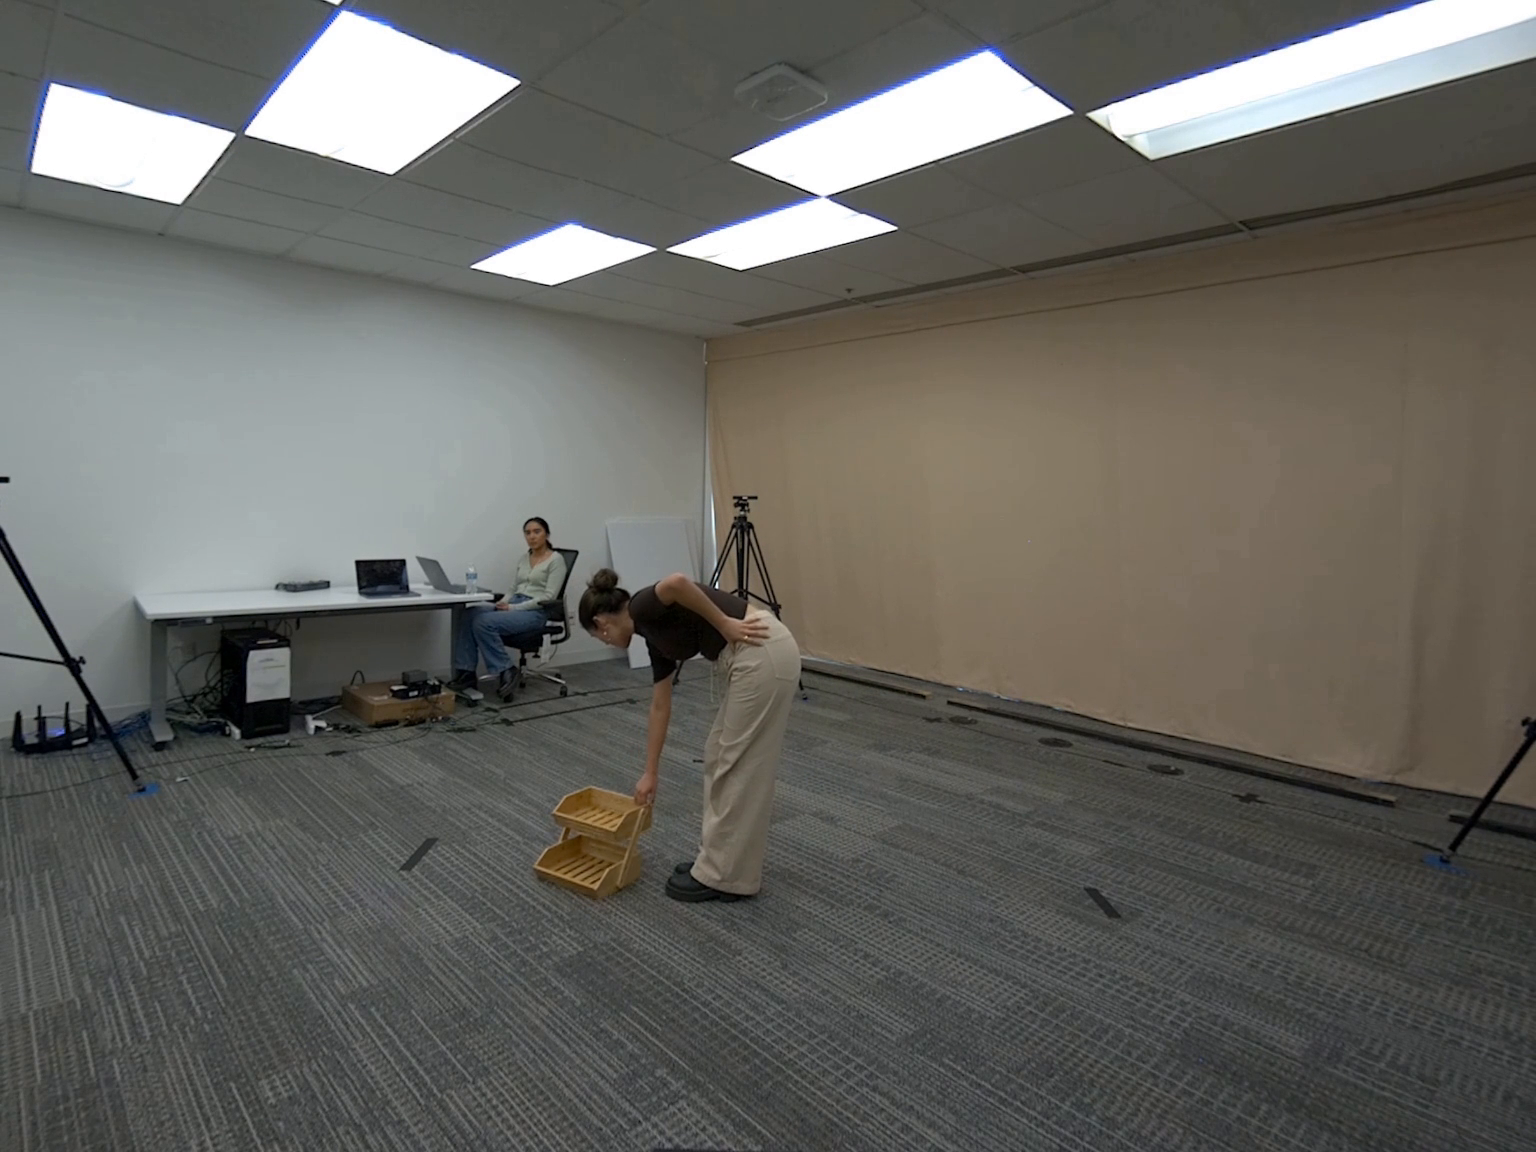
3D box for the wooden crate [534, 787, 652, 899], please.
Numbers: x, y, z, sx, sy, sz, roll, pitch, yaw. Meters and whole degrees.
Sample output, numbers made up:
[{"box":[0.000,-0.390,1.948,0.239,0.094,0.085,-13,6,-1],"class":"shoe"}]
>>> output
[{"box":[-0.638,0.961,3.061,0.332,0.272,0.296,4,6,30],"class":"wooden crate"}]
